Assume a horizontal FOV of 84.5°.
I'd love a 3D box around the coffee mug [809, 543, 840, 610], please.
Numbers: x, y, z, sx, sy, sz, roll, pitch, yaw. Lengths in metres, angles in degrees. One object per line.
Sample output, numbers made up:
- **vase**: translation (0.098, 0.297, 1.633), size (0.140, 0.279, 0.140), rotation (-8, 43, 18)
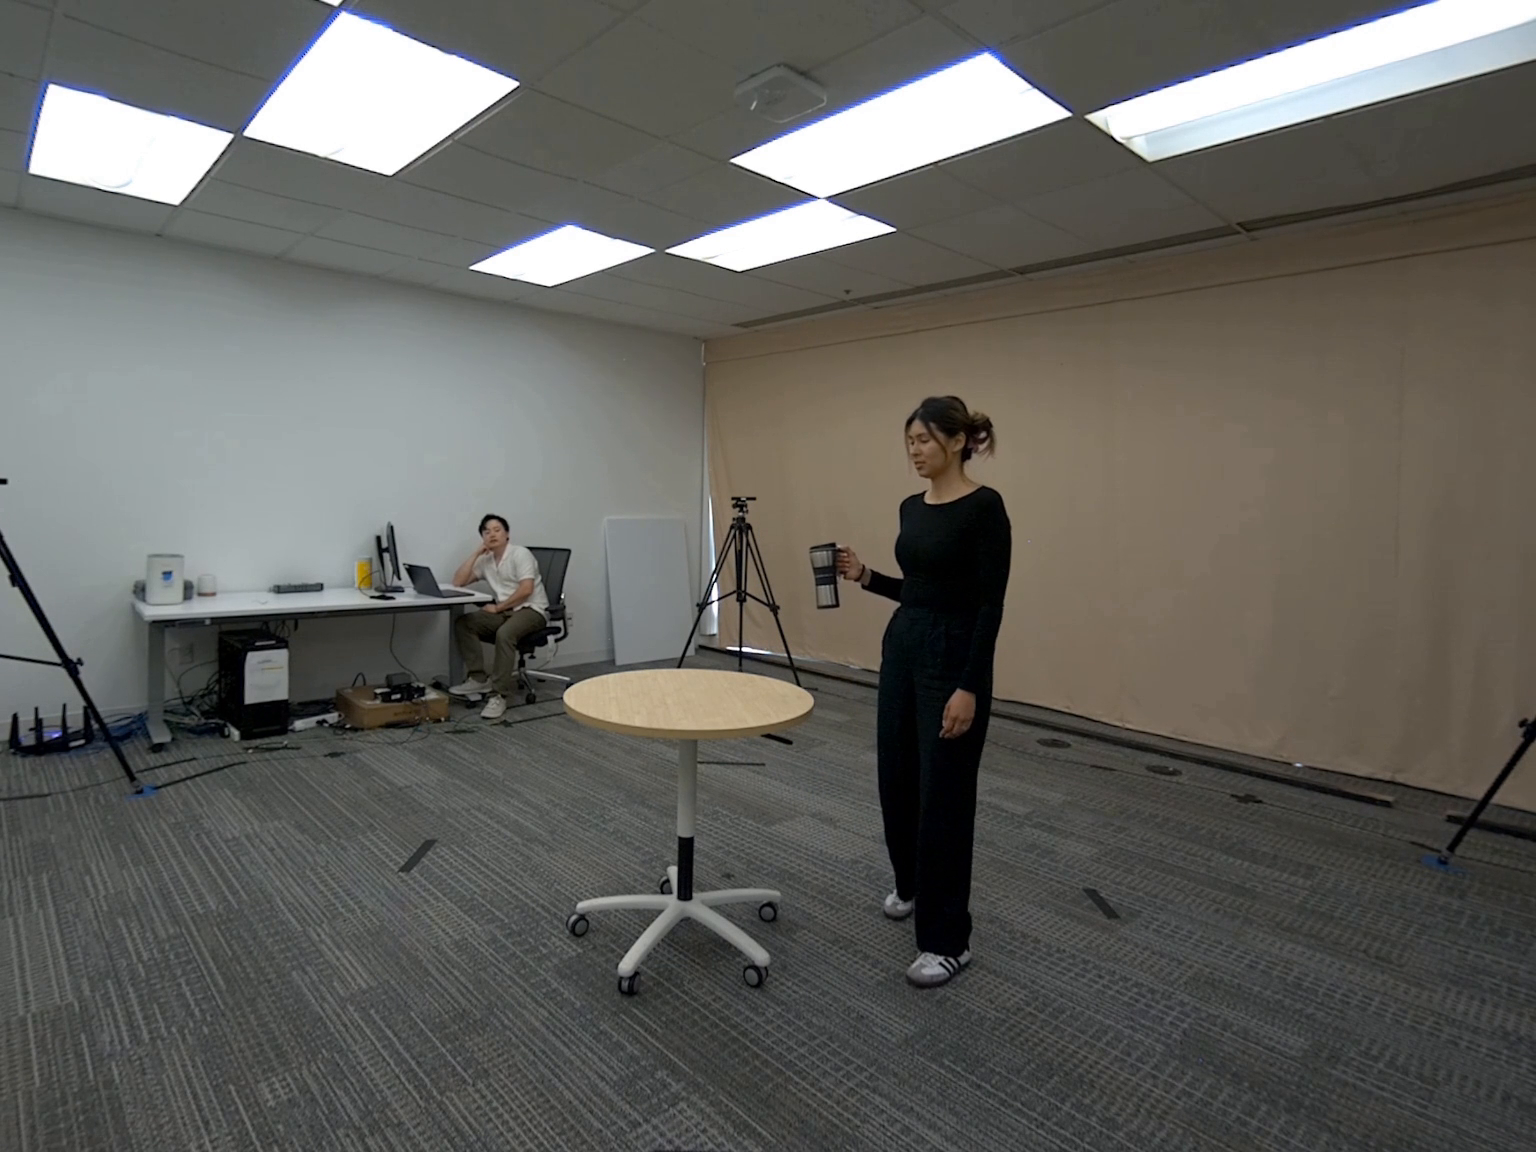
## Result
- **coffee mug**: translation (0.195, 0.001, 2.677), size (0.089, 0.203, 0.119), rotation (-12, -4, 39)
